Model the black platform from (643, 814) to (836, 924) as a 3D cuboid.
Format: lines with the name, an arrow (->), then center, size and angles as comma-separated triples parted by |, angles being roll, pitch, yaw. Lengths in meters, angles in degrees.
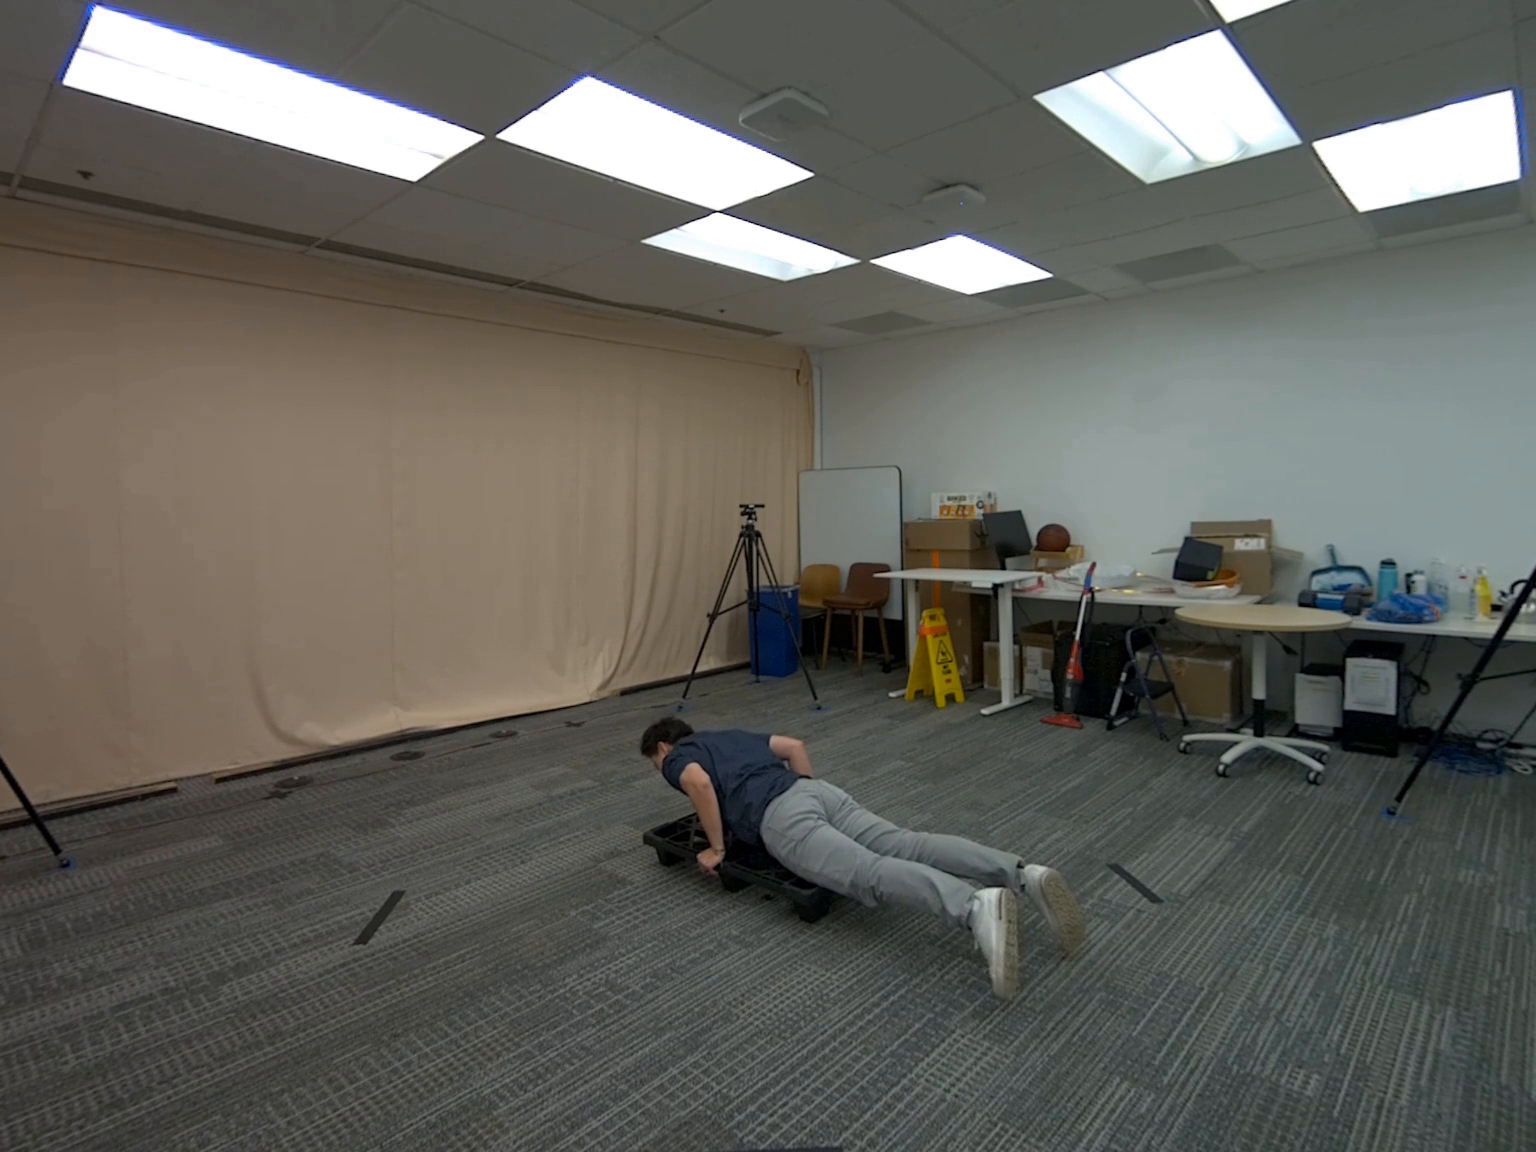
black platform -> 0.012, 1.056, 3.209 | 0.832, 0.143, 0.587 | 3, 7, 41
